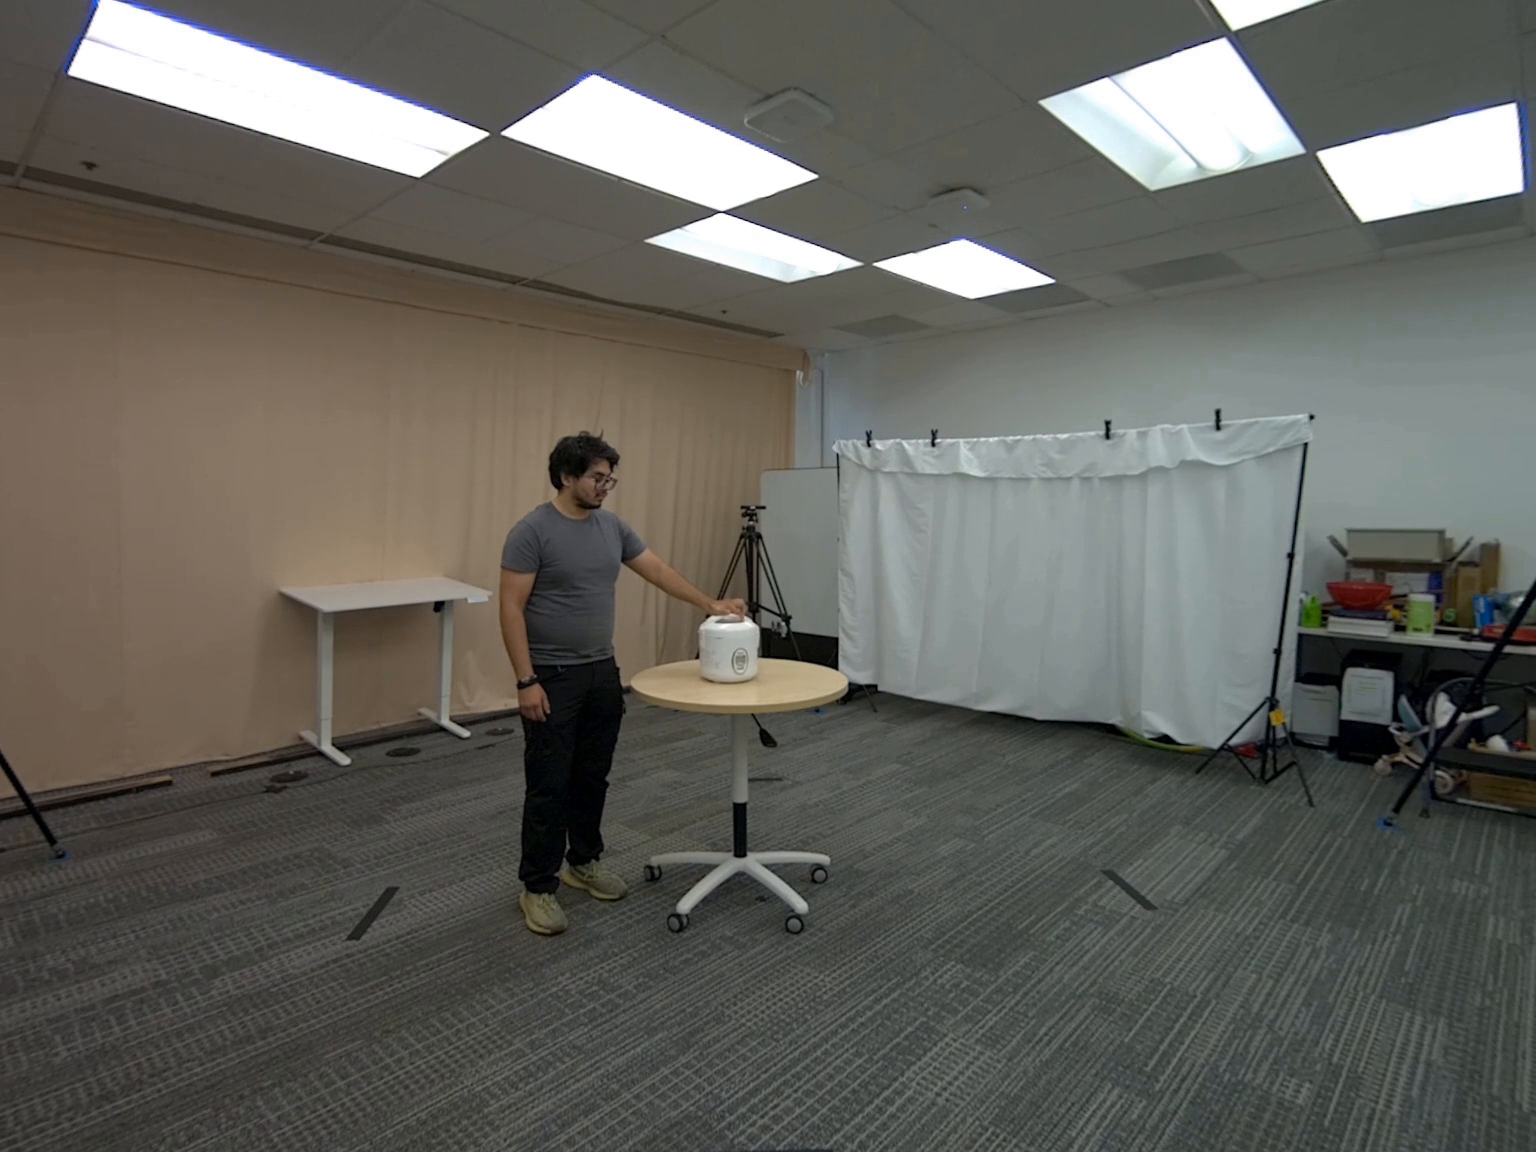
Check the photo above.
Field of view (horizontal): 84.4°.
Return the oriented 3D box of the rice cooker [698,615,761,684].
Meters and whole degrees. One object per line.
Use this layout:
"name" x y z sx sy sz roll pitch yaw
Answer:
"rice cooker" -0.135 0.248 2.977 0.216 0.232 0.222 -3 4 -22
